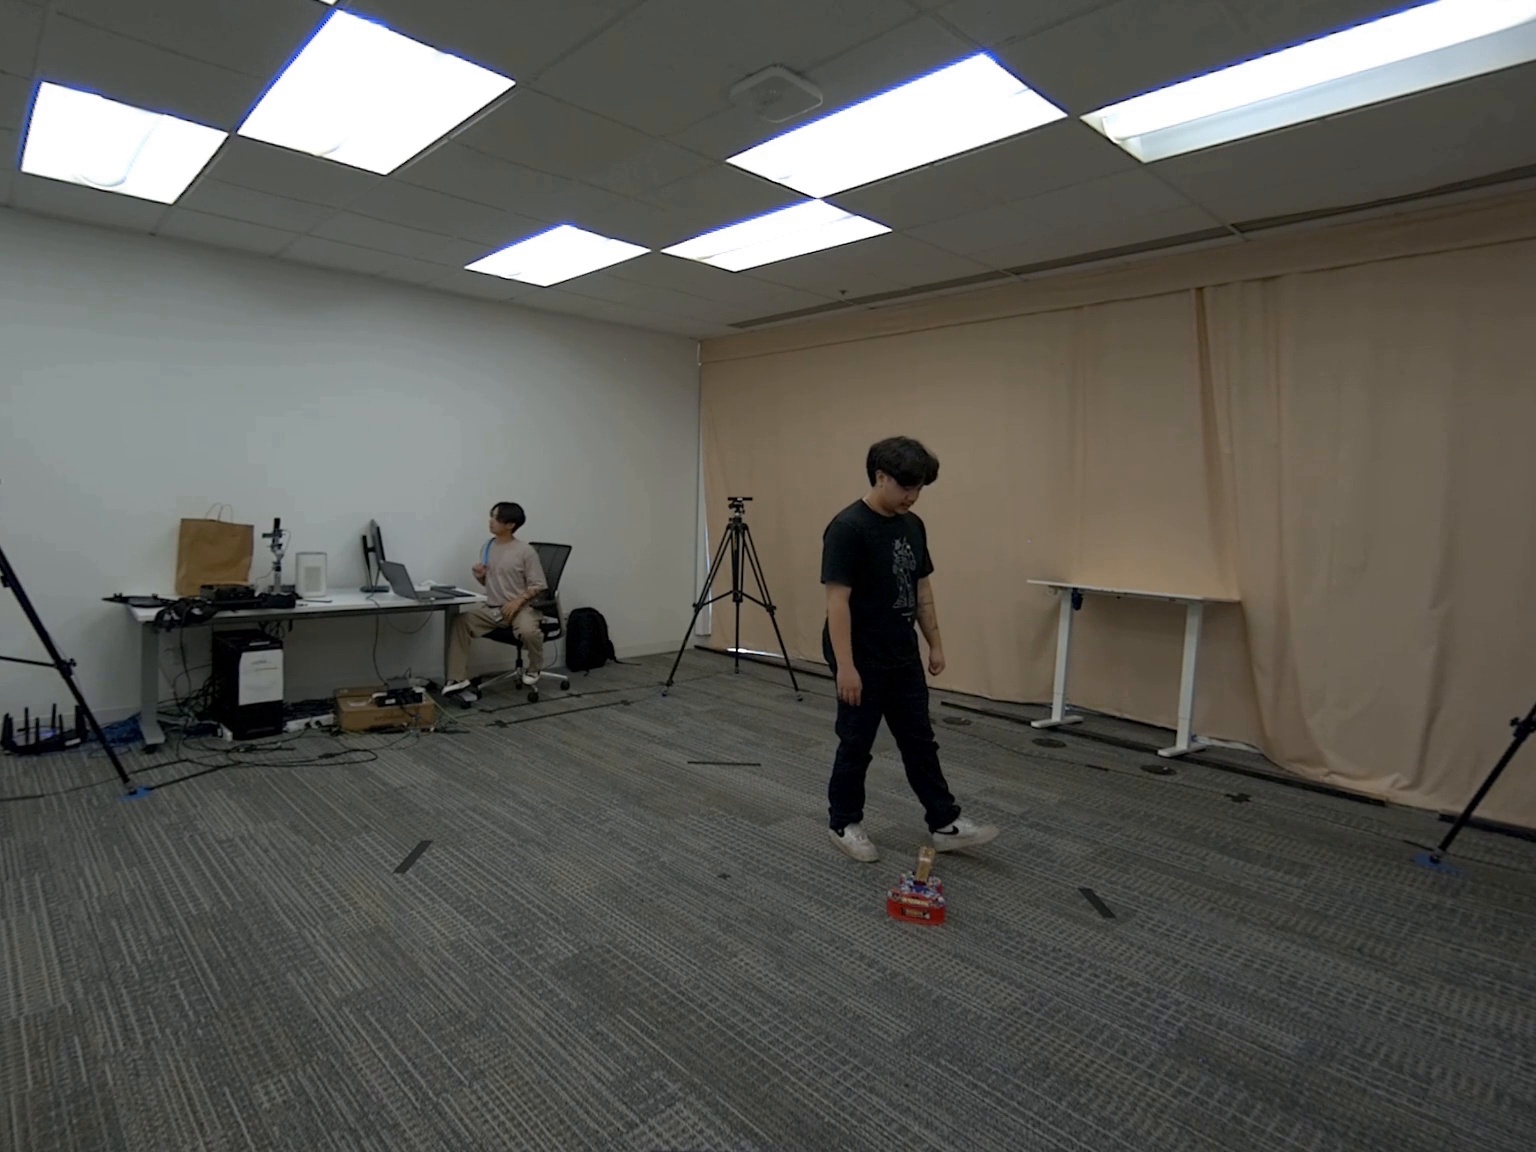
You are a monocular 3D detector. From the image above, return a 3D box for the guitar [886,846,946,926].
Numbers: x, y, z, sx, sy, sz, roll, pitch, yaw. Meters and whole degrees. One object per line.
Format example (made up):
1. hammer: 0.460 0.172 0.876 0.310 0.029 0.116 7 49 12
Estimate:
1. guitar: 0.570 1.102 3.008 0.197 0.070 0.490 3 6 24
